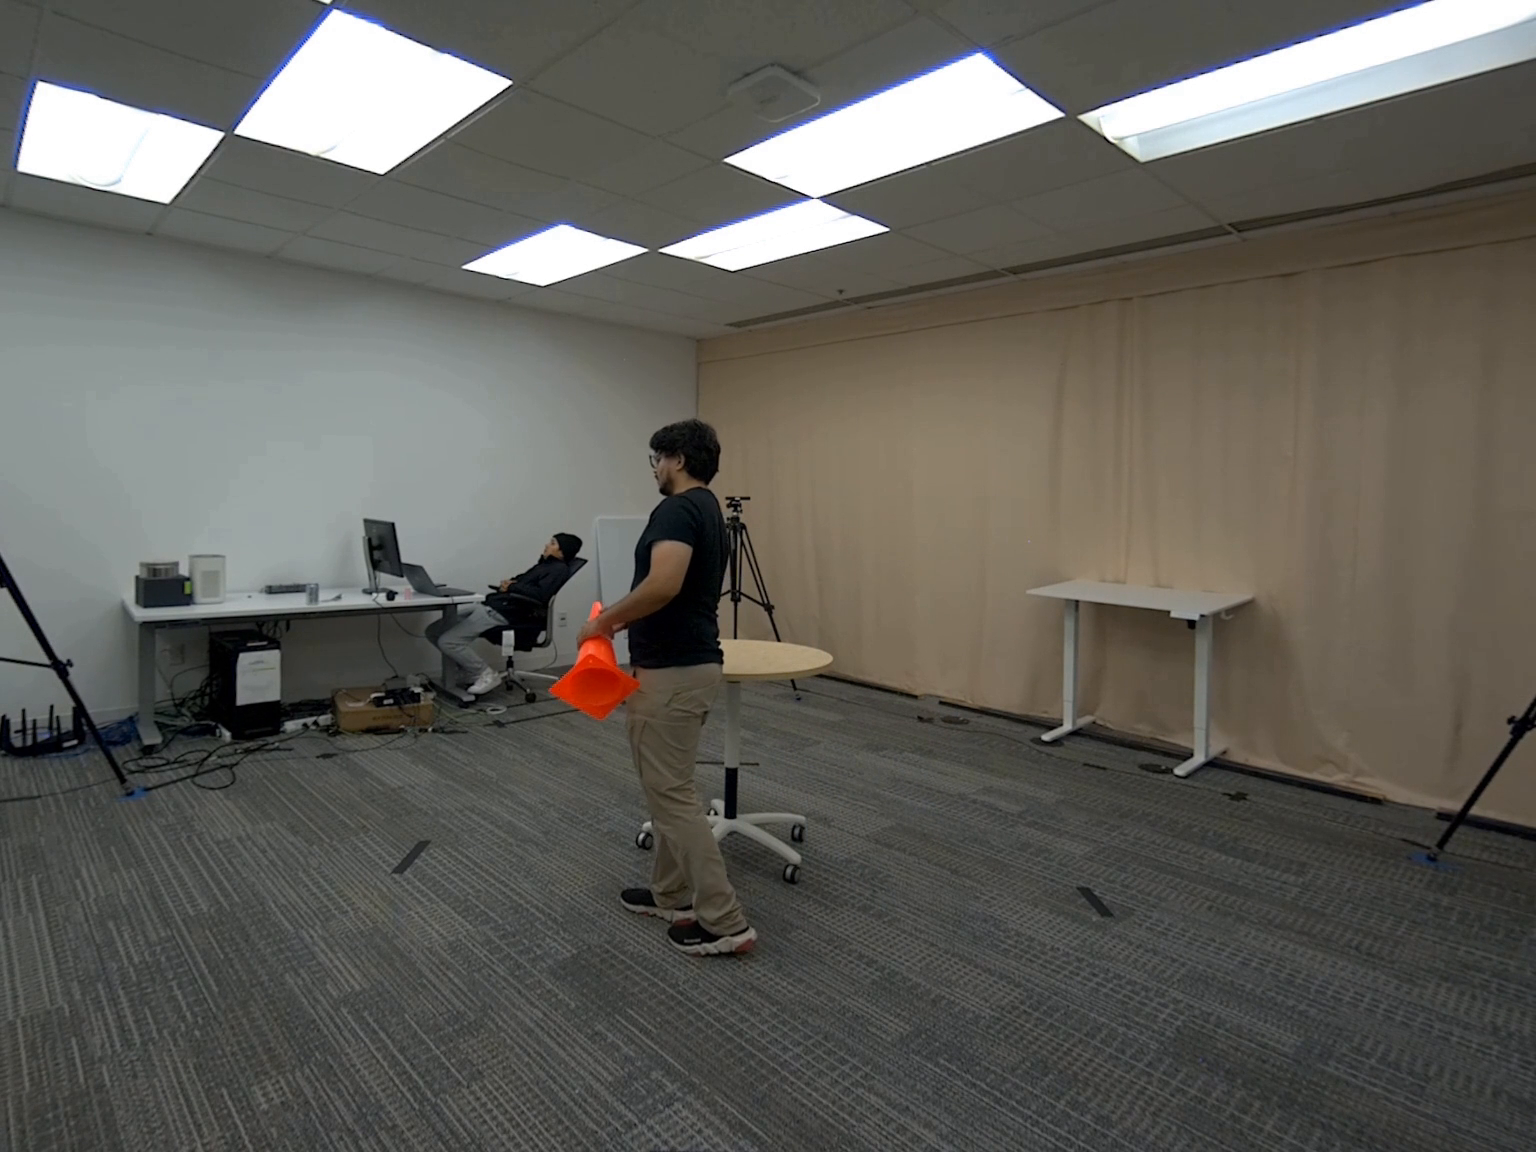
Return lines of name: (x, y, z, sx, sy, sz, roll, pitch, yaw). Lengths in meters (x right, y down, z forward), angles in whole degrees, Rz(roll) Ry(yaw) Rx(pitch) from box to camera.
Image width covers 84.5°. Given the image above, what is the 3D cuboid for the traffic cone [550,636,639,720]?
traffic cone: (-0.531, 0.215, 2.616, 0.198, 0.205, 0.393, 35, 26, -29)
